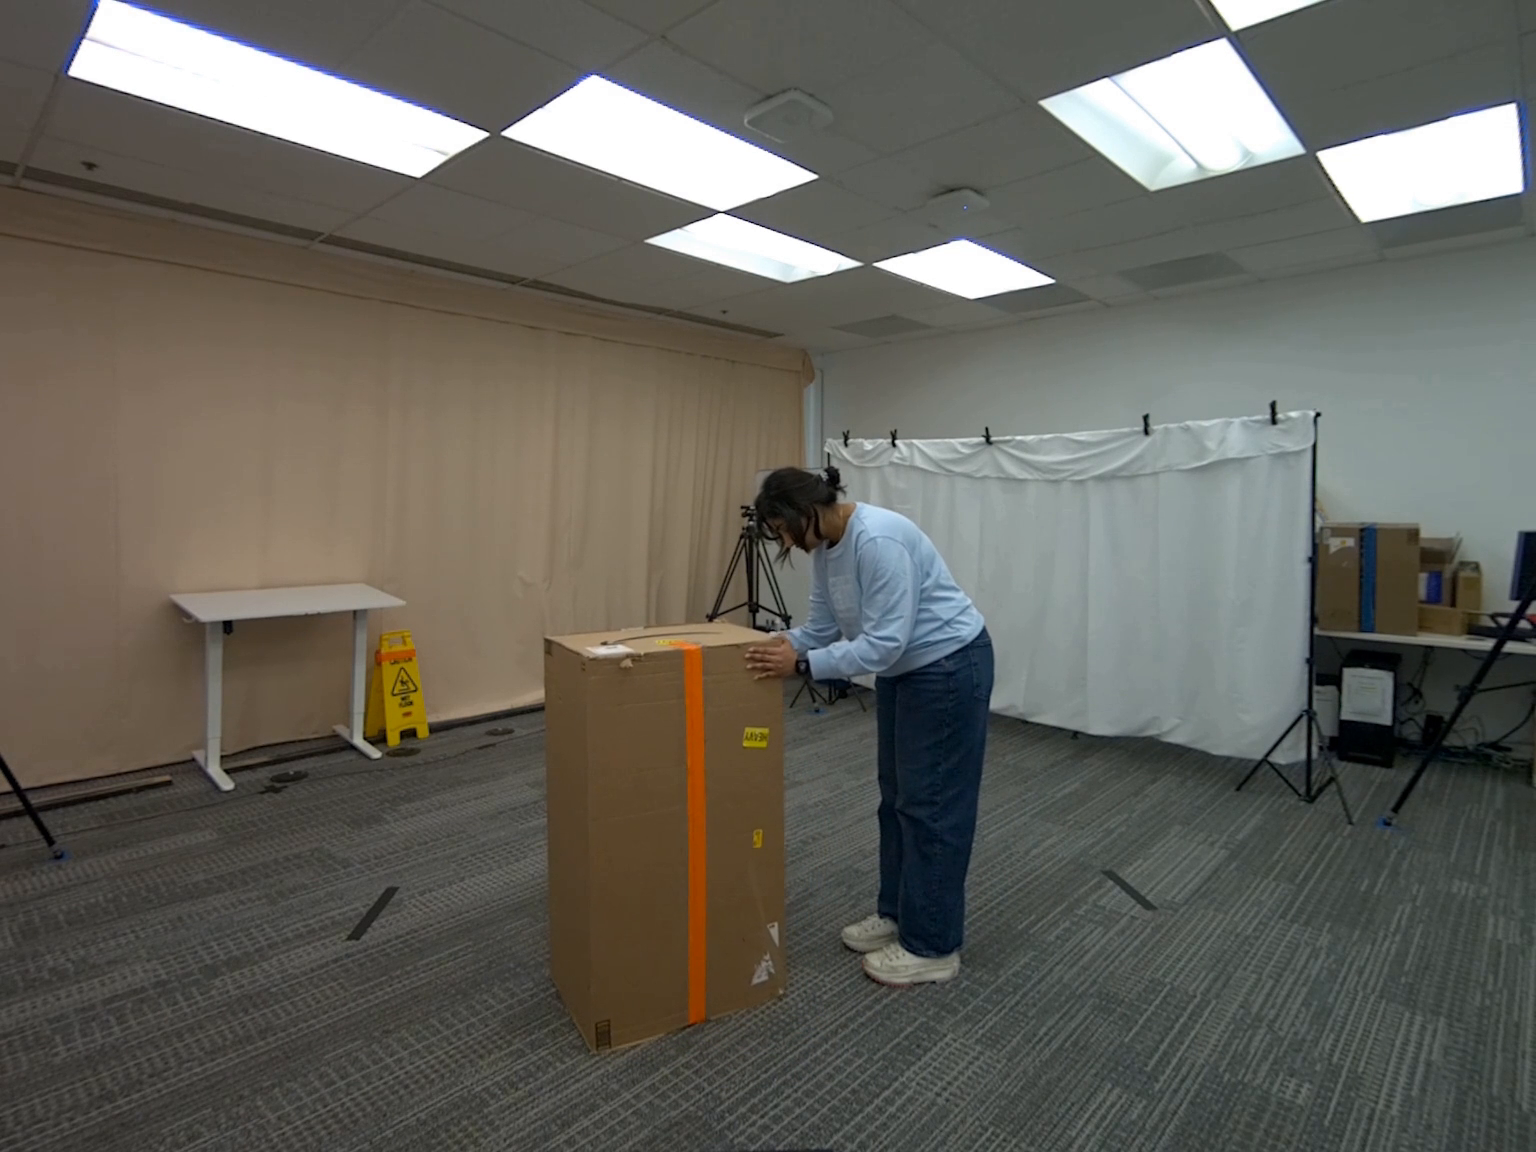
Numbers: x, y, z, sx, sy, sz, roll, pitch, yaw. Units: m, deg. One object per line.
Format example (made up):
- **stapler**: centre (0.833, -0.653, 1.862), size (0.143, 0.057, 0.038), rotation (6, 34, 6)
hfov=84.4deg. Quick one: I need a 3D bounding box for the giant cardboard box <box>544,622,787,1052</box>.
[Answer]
- **giant cardboard box**: centre (-0.305, 0.691, 2.425), size (0.562, 1.024, 0.438), rotation (-2, 4, -29)
